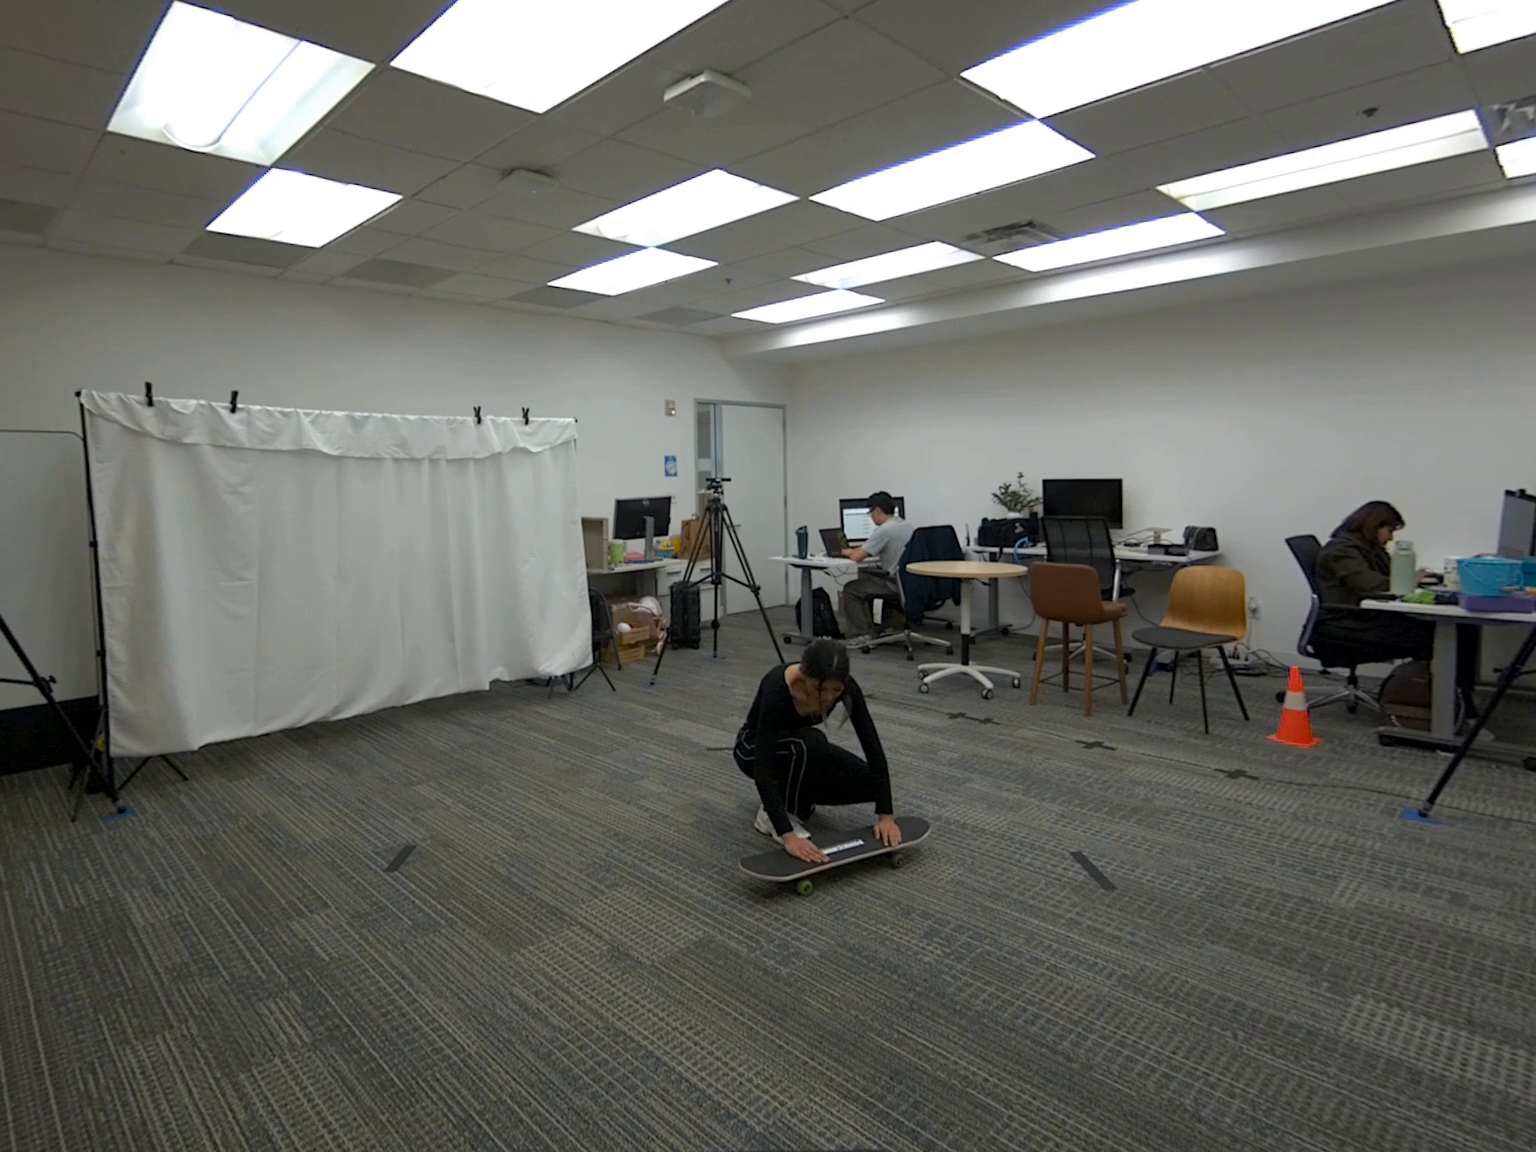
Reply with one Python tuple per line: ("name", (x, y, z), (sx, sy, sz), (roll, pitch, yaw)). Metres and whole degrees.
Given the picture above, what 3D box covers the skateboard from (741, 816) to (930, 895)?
("skateboard", (0.249, 0.992, 3.023), (0.767, 0.110, 0.199), (-5, 7, -29))
